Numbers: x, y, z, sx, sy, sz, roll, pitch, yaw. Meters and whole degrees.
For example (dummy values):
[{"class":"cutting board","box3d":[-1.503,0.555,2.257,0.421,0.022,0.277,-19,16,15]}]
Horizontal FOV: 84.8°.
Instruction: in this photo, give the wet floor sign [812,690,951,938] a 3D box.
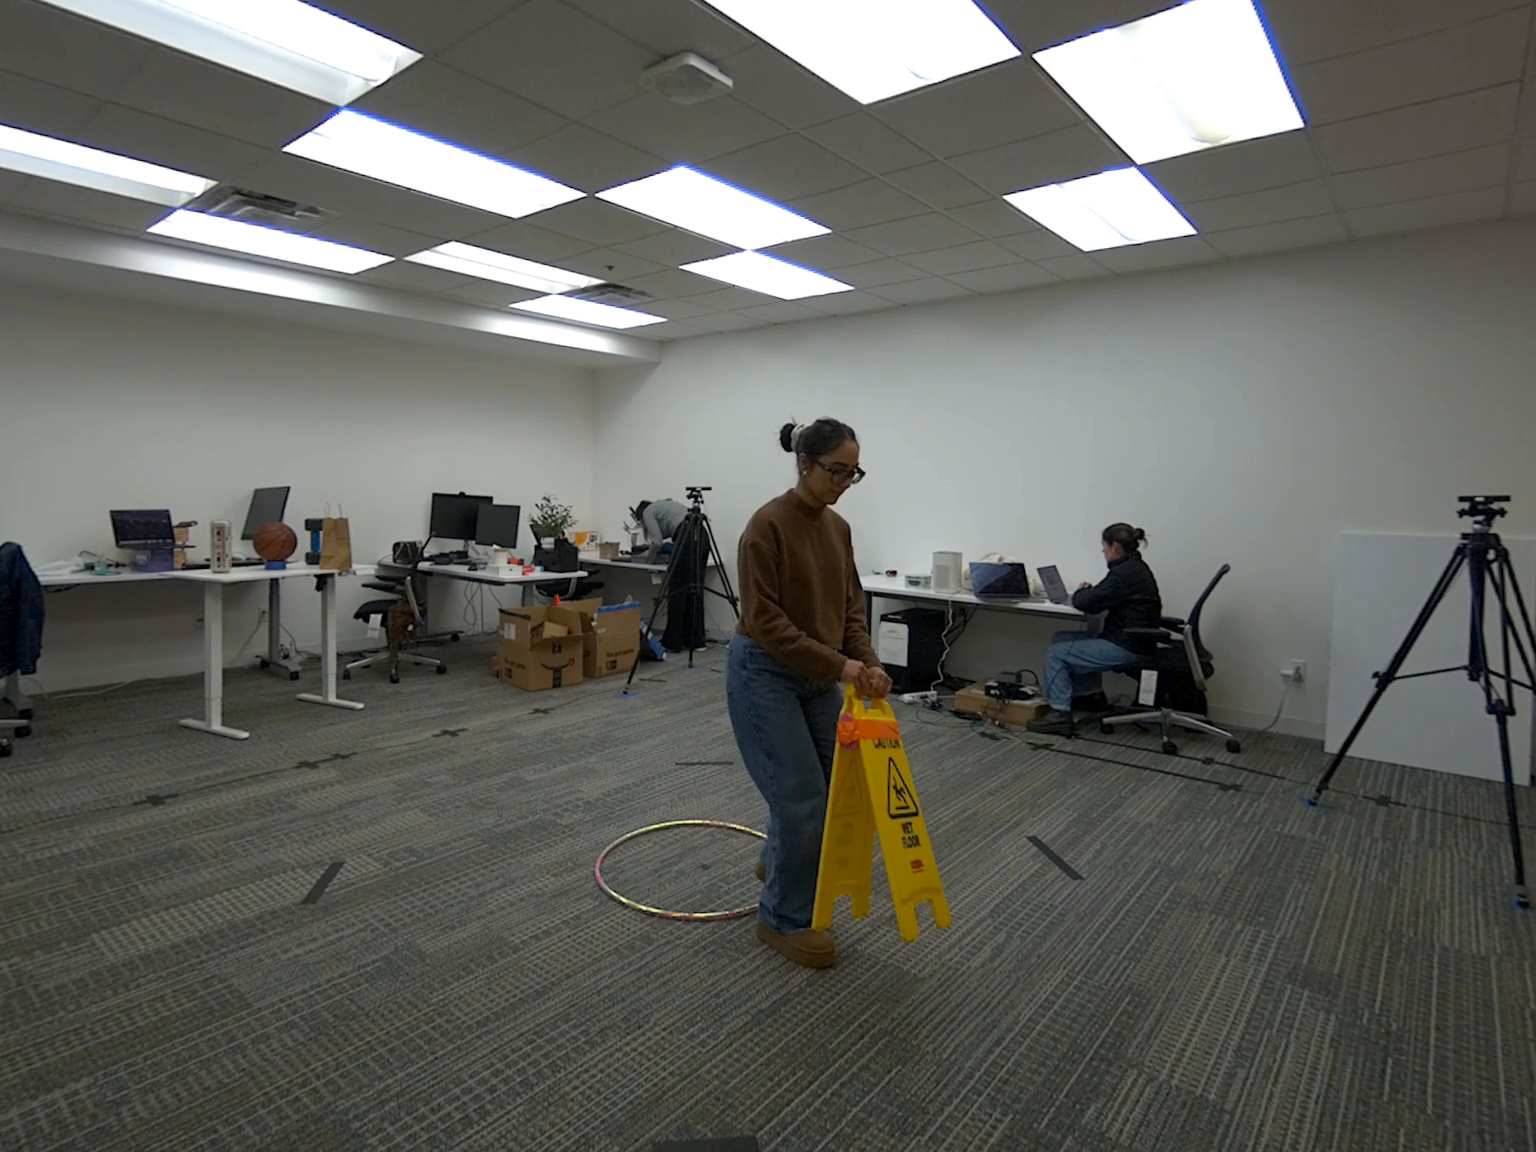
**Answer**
[{"class":"wet floor sign","box3d":[0.285,0.593,2.351,0.297,0.655,0.272,-12,-16,37]}]
